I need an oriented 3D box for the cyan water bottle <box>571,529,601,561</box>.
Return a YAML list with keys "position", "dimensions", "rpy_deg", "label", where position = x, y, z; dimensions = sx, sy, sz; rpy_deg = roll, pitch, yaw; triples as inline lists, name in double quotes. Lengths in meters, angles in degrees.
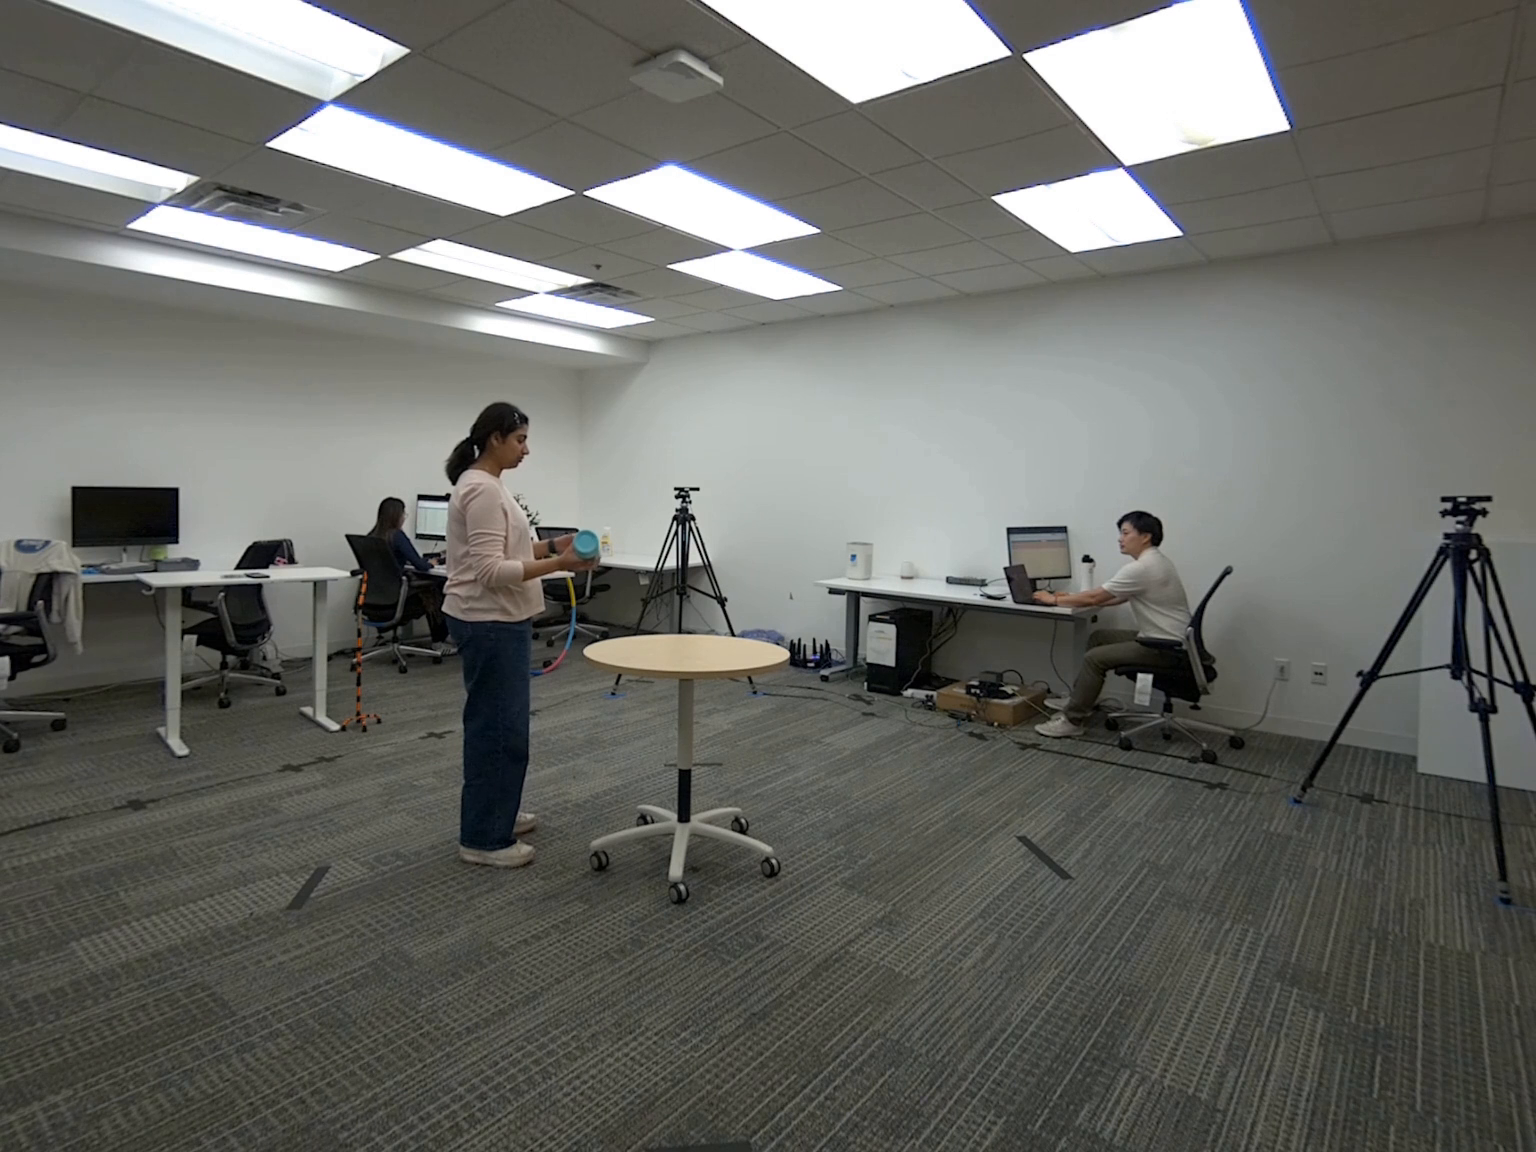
- position: [-0.680, -0.092, 3.126]
  dimensions: [0.092, 0.093, 0.280]
  rpy_deg: [1, -13, -4]
  label: "cyan water bottle"
